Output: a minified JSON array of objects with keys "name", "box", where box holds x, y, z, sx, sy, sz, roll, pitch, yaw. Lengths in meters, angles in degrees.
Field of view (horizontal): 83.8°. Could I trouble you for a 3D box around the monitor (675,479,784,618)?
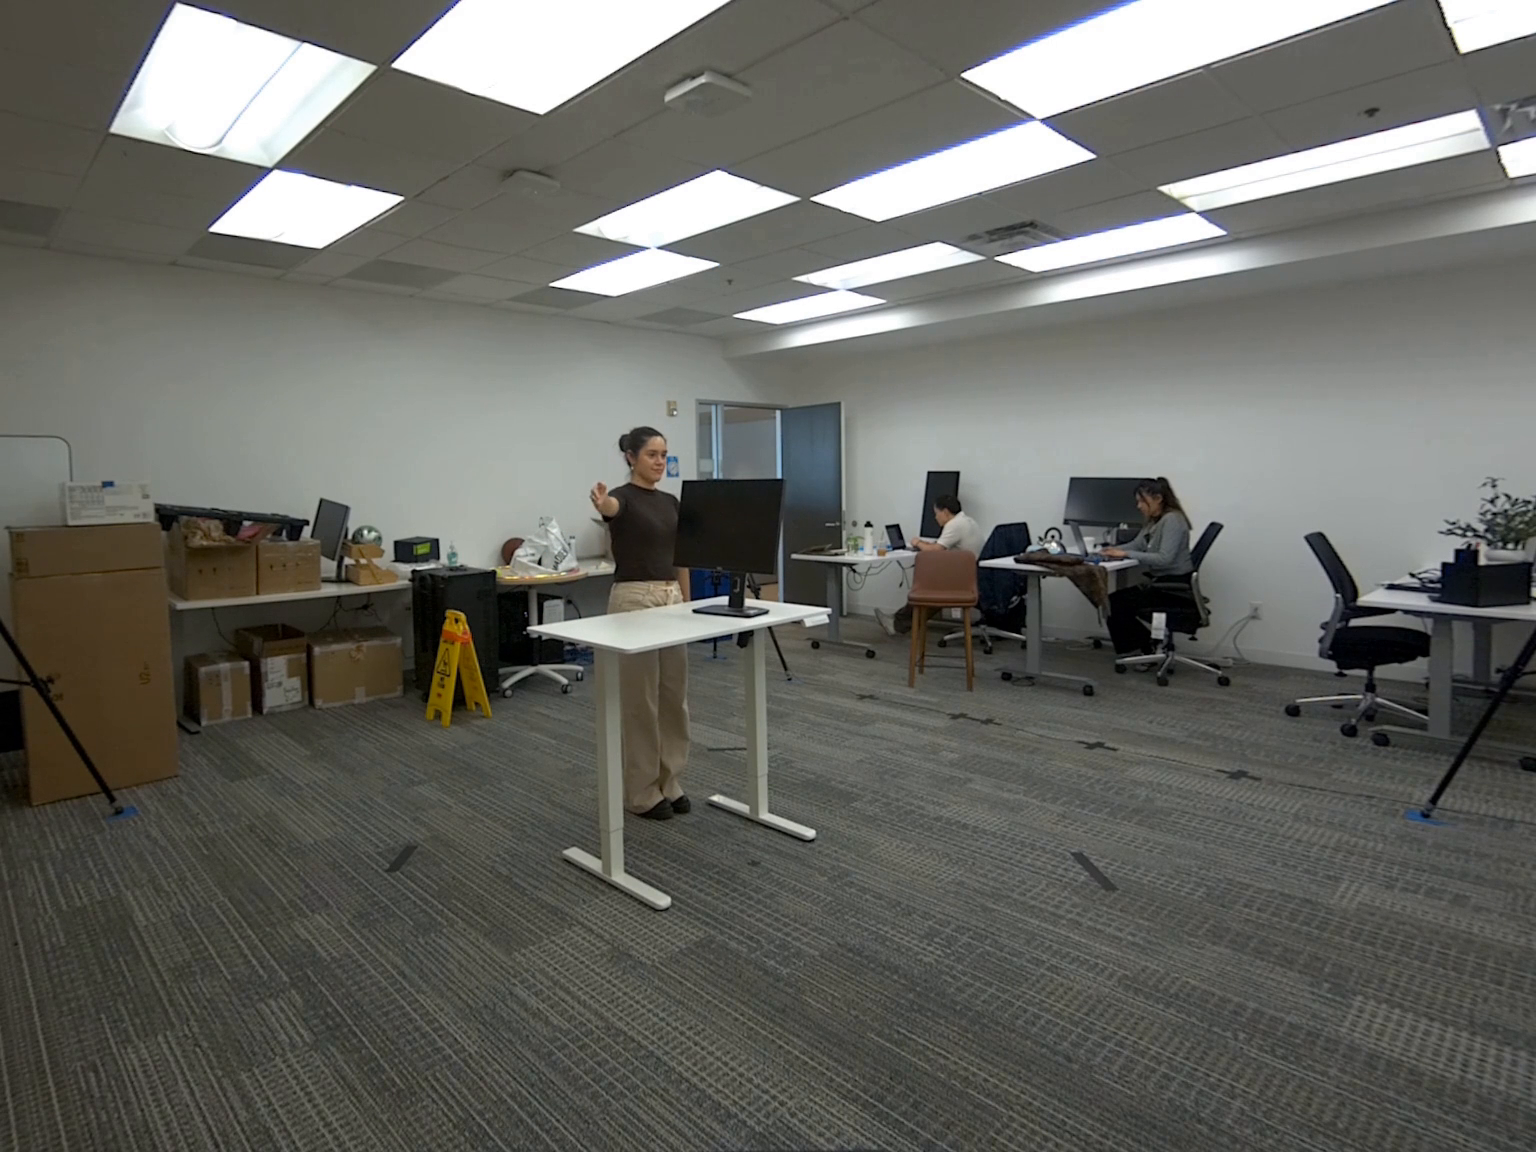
[{"name":"monitor","box":[-0.142,-0.109,3.275,0.182,0.520,0.555,-8,8,-44]}]
